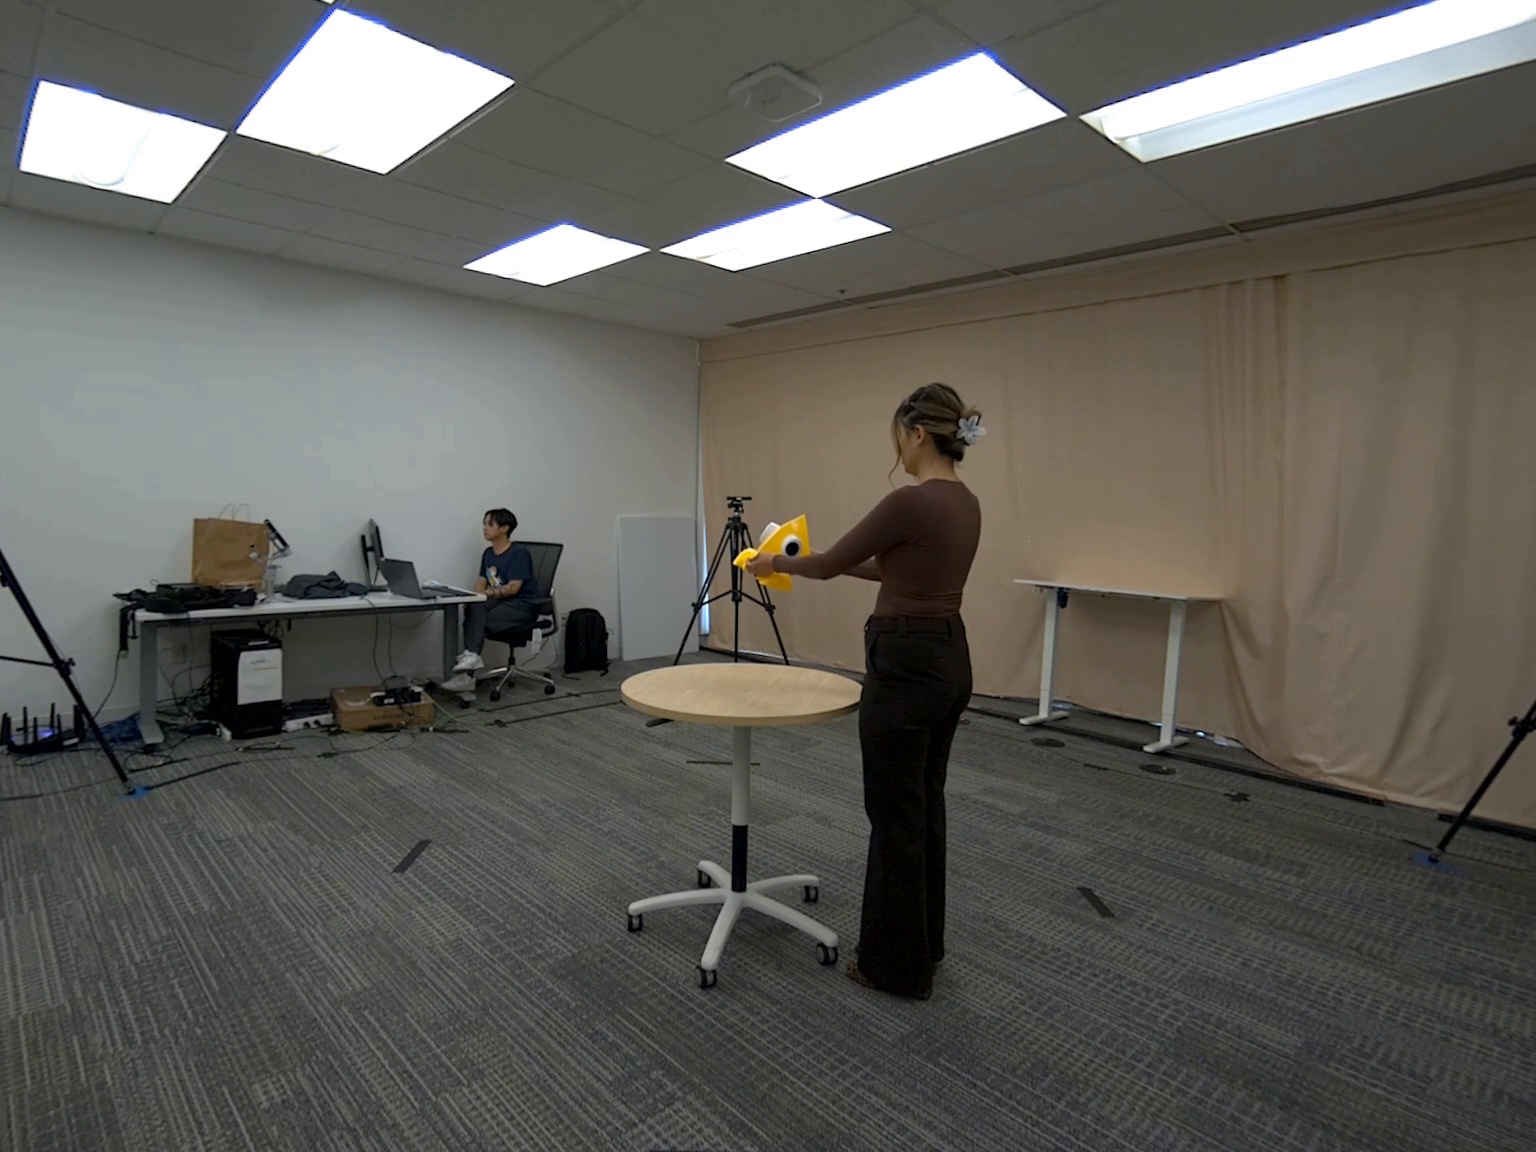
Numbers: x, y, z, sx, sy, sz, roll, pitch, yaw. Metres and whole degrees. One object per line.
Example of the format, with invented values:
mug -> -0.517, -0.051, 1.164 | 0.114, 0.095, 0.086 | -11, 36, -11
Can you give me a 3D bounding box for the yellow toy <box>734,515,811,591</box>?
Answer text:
yellow toy -> 0.030, -0.102, 2.739 | 0.211, 0.229, 0.188 | 36, 18, 36
